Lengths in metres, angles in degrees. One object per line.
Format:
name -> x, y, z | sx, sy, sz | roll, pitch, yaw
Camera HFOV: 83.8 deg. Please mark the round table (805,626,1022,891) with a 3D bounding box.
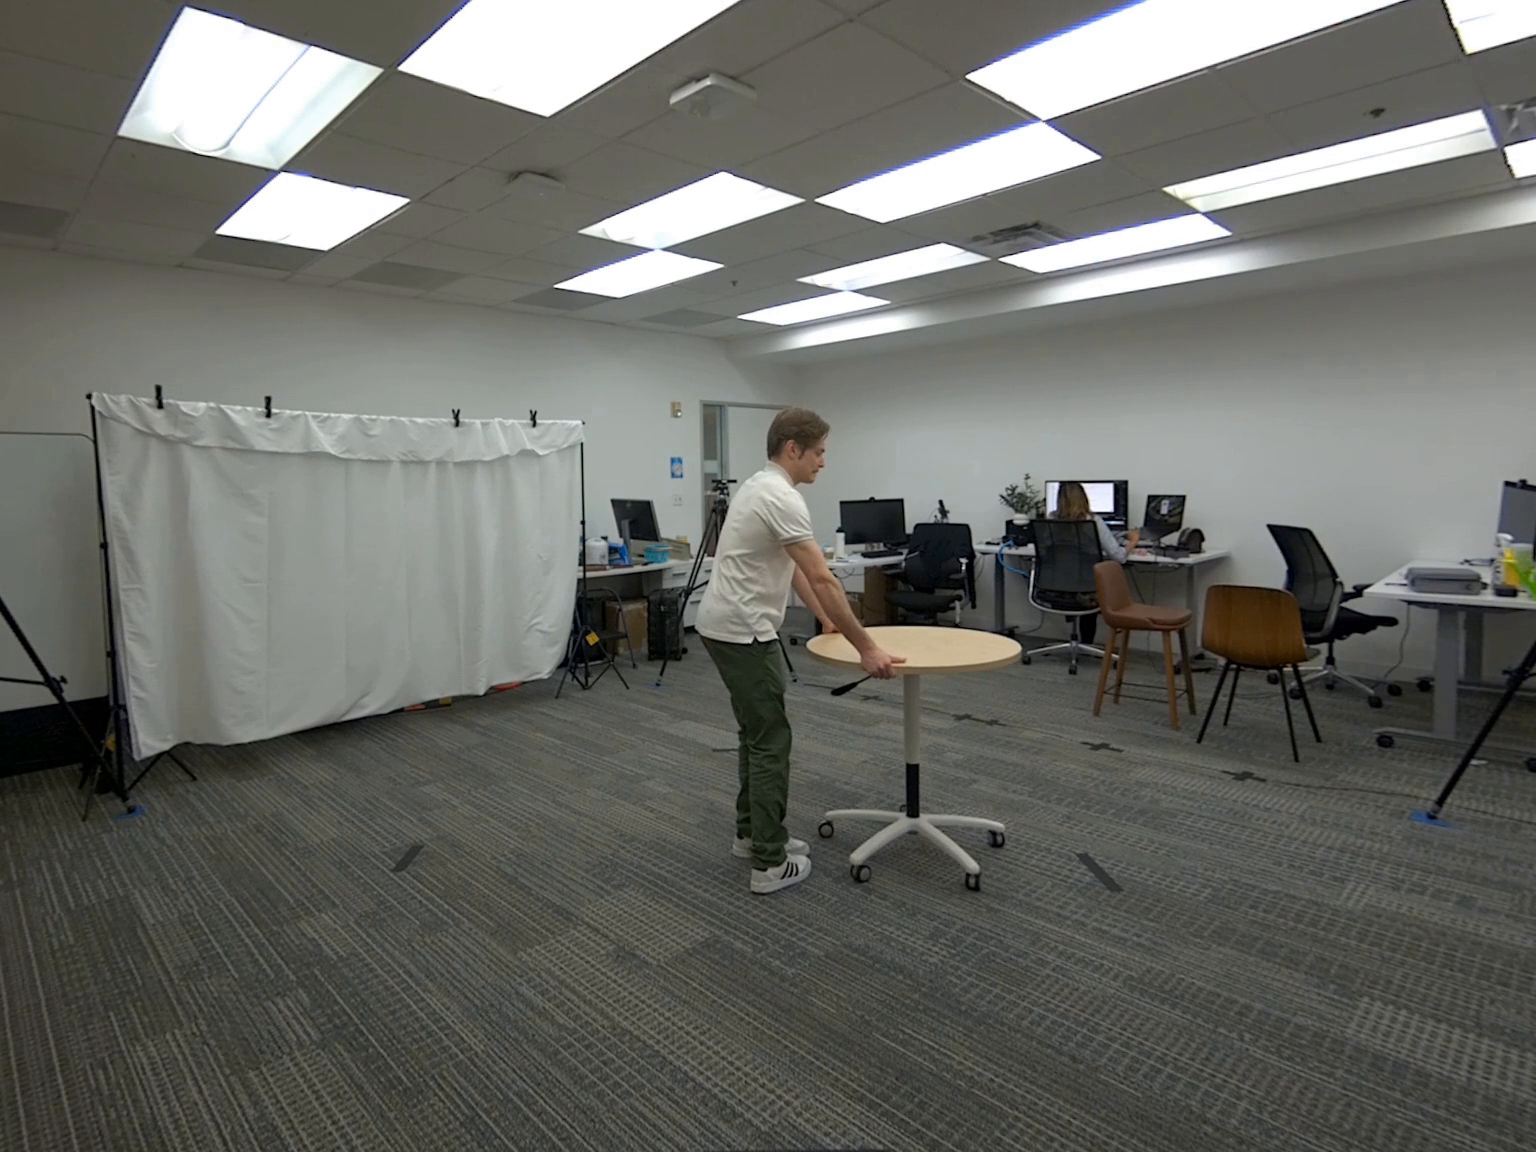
round table -> 0.527, 0.639, 3.154 | 0.763, 0.791, 0.768 | -1, 4, -2
